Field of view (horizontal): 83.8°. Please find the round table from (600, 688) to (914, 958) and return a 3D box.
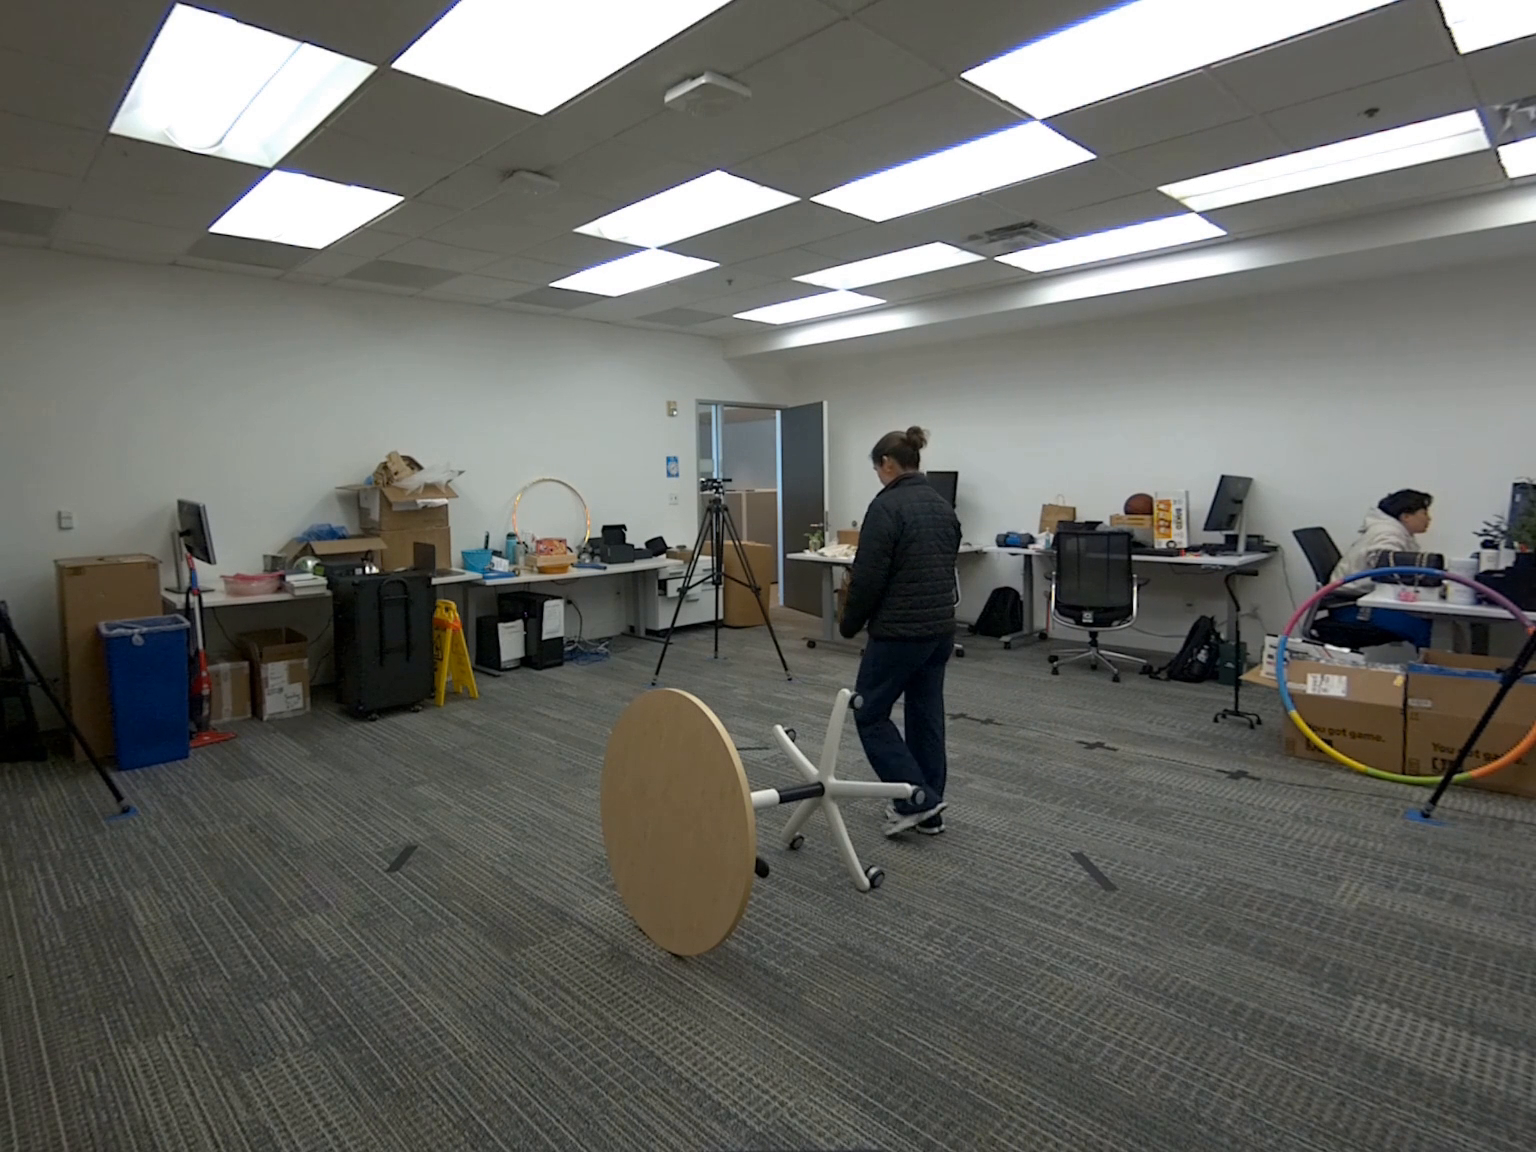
[{"bbox_3d":[-0.007,0.737,2.830,0.763,0.785,0.809,2,2,-40],"label":"round table"}]
